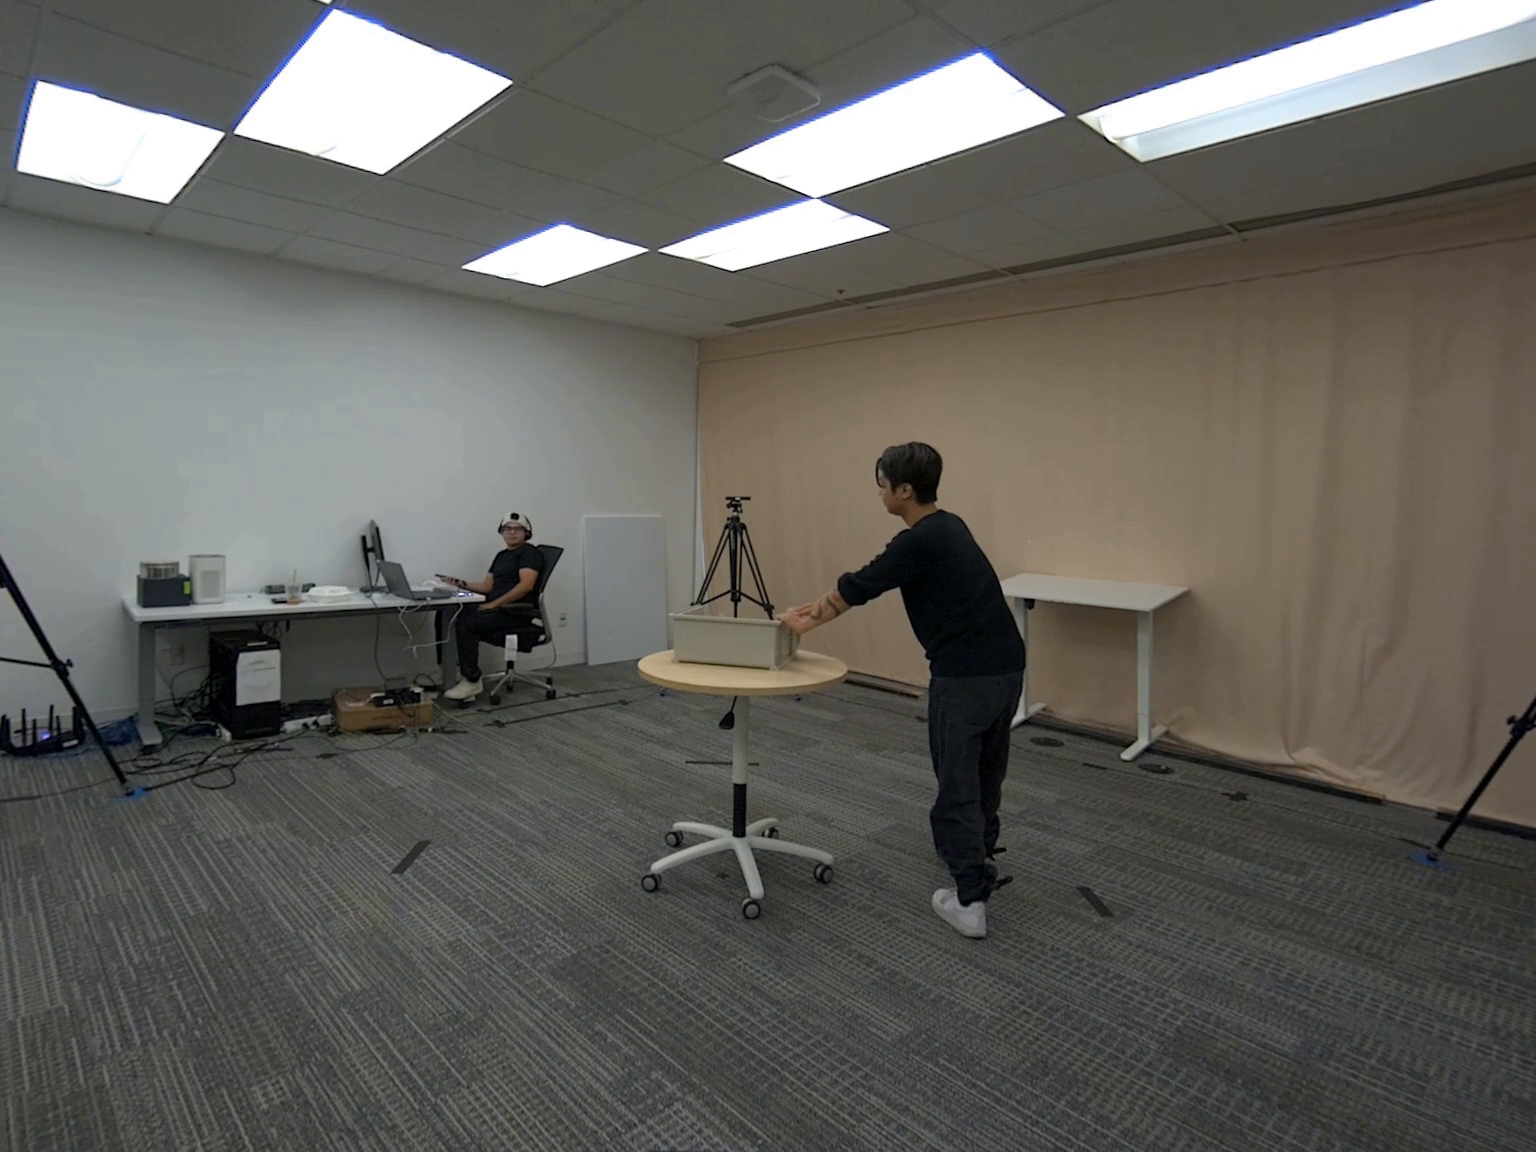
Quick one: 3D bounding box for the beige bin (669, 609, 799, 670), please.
[{"bbox_3d":[-0.120,0.224,3.200,0.428,0.188,0.374,3,7,15],"label":"beige bin"}]
